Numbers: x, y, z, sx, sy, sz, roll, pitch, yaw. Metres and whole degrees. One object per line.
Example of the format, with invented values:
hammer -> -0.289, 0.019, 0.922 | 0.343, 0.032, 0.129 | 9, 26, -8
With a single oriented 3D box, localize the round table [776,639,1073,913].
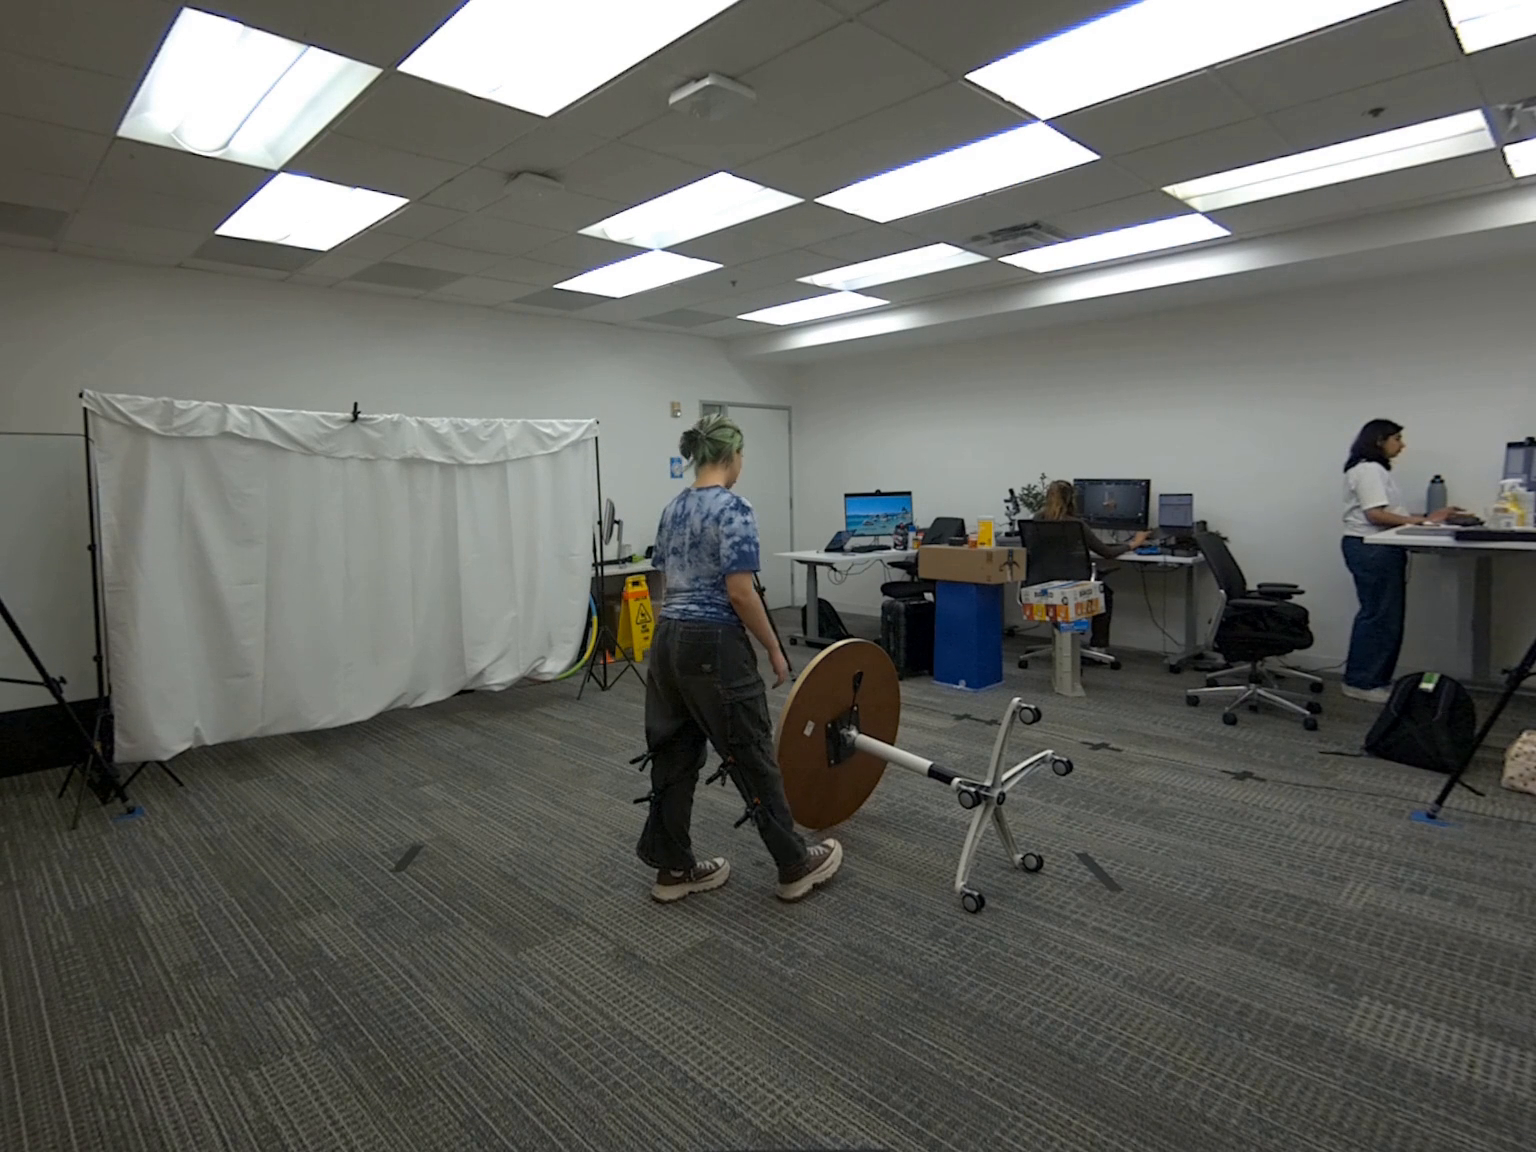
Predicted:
round table -> 0.563, 0.693, 3.120 | 0.744, 0.758, 0.821 | -5, 13, -44
